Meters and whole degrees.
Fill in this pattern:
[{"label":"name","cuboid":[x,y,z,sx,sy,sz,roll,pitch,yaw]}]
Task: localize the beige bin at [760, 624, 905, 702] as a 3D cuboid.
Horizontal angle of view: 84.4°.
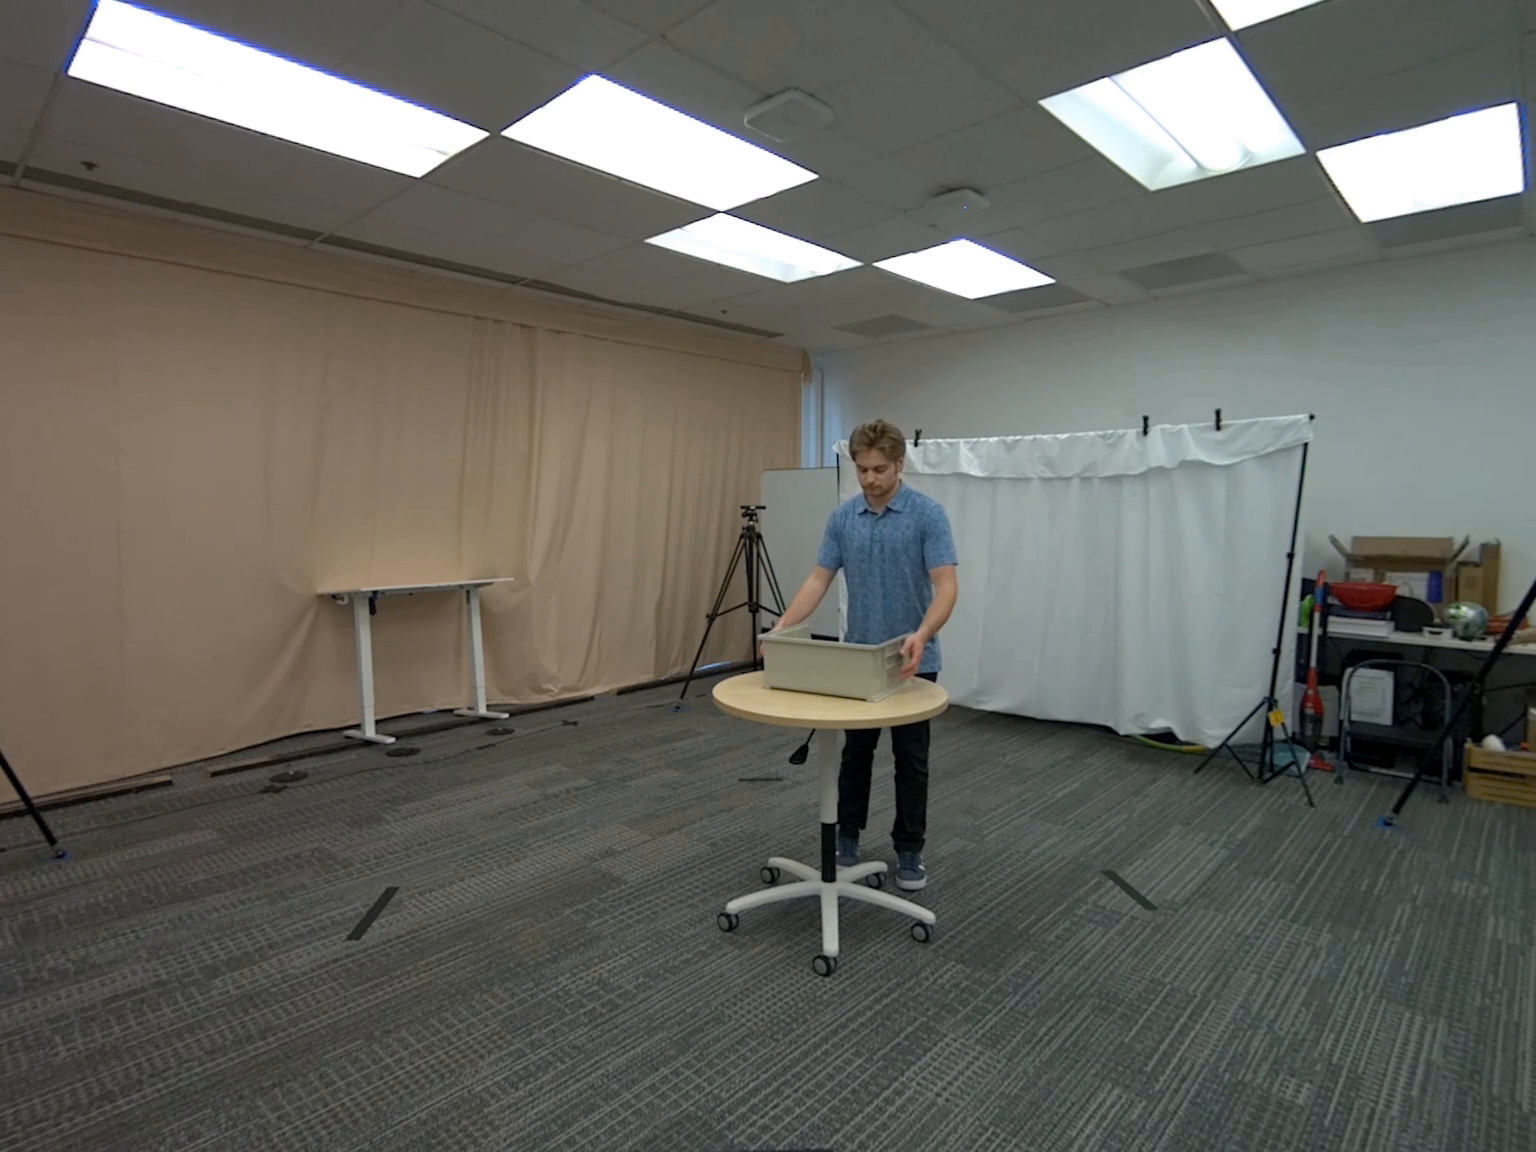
[{"label":"beige bin","cuboid":[0.251,0.281,2.843,0.435,0.188,0.368,3,7,31]}]
